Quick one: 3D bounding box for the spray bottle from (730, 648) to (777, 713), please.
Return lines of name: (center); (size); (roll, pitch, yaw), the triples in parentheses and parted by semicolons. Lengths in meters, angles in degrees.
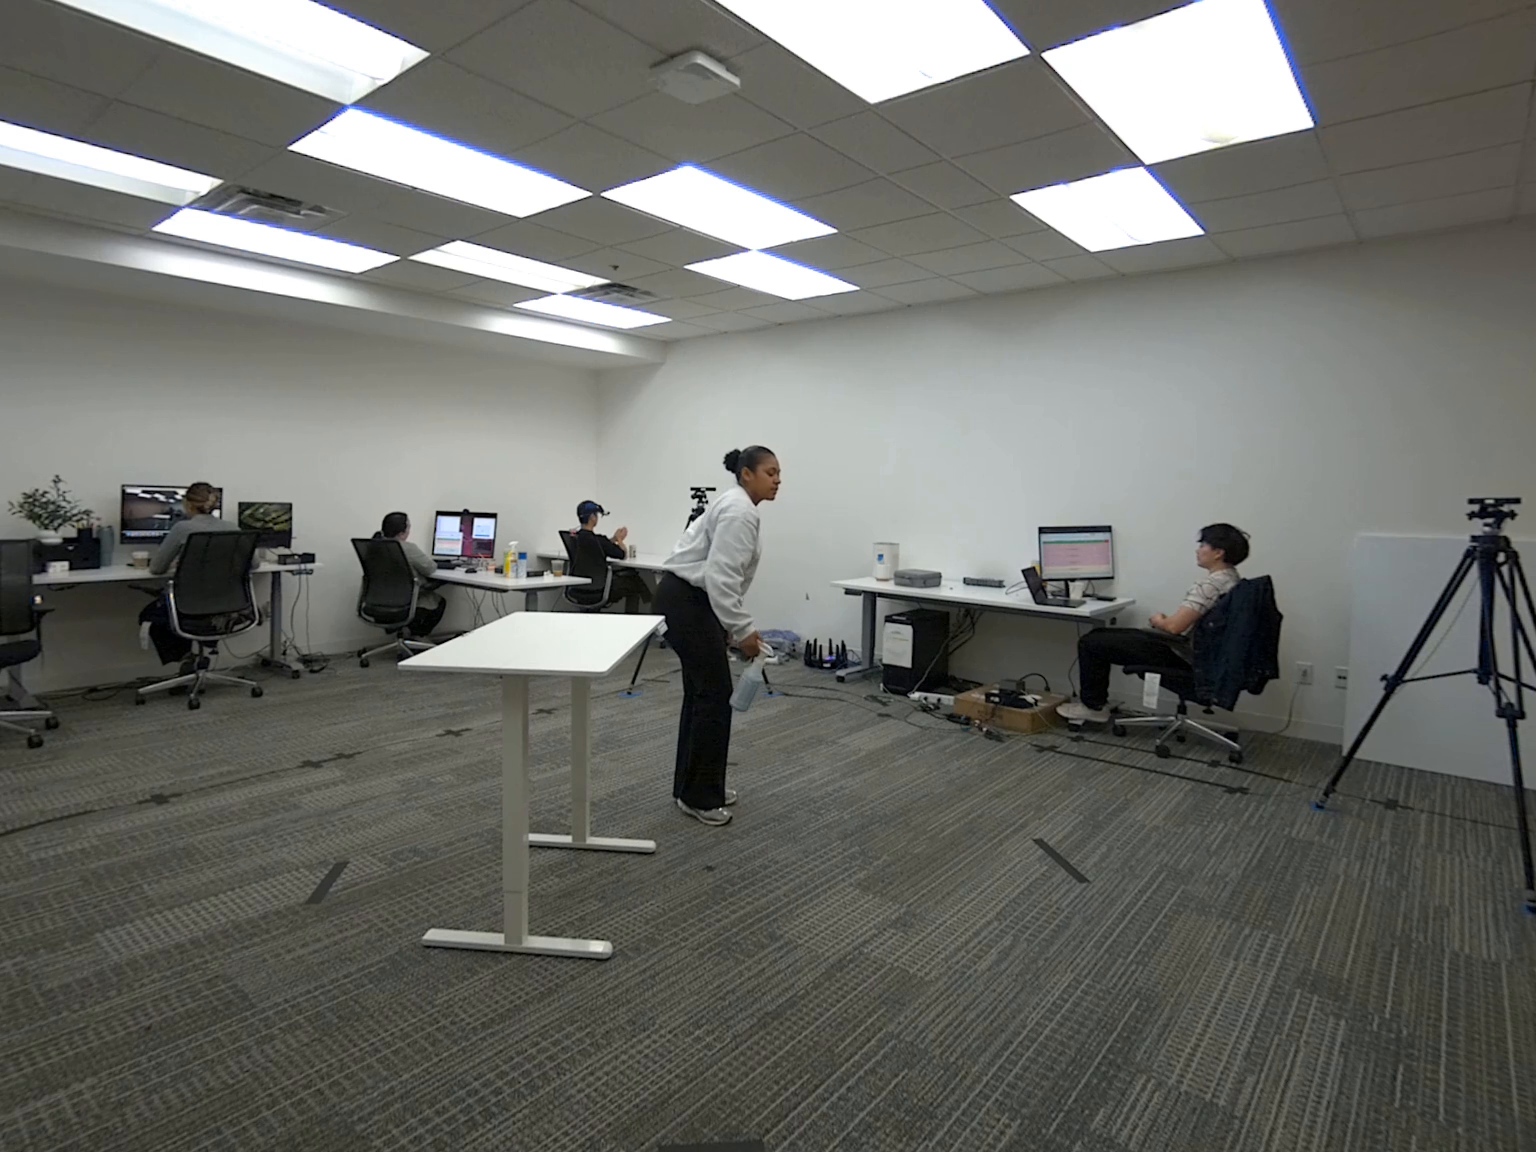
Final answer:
spray bottle: (-0.081, 0.417, 3.429); (0.093, 0.295, 0.084); (27, 15, 30)
